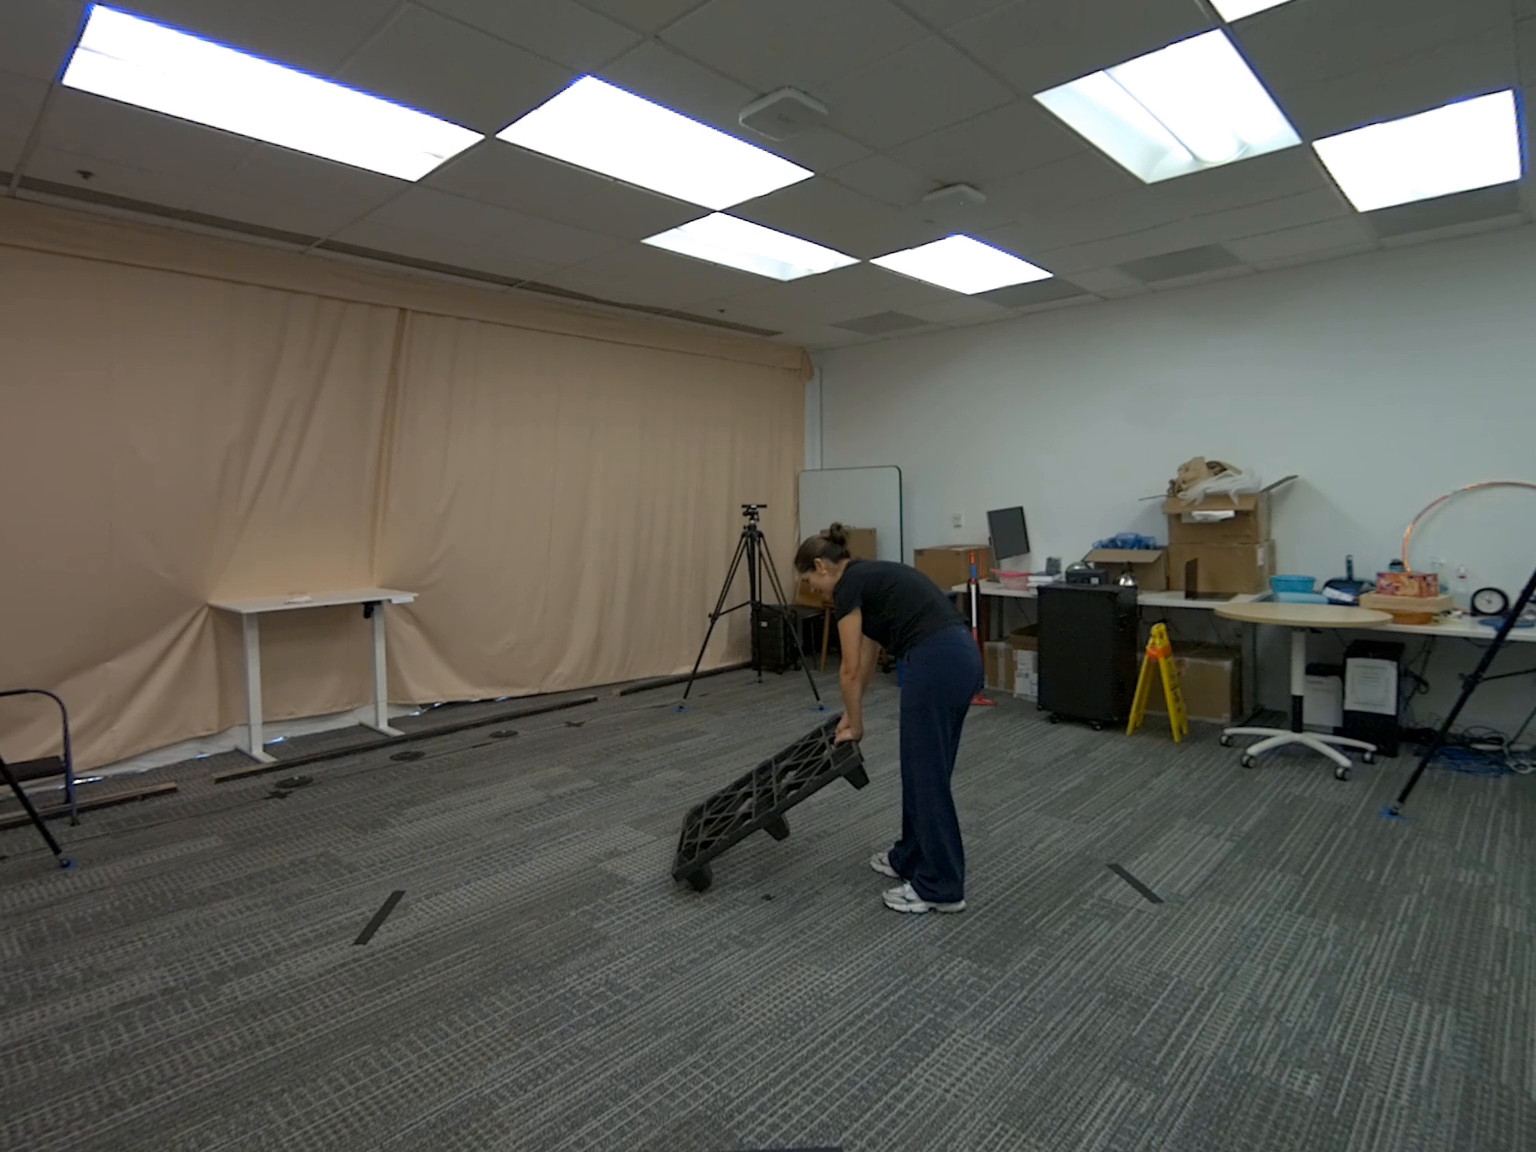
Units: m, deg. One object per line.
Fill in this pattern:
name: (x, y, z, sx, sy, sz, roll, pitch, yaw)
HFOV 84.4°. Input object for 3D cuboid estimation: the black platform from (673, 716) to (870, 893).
black platform: (0.041, 0.853, 3.238, 0.807, 0.143, 0.606, -35, 5, 4)
